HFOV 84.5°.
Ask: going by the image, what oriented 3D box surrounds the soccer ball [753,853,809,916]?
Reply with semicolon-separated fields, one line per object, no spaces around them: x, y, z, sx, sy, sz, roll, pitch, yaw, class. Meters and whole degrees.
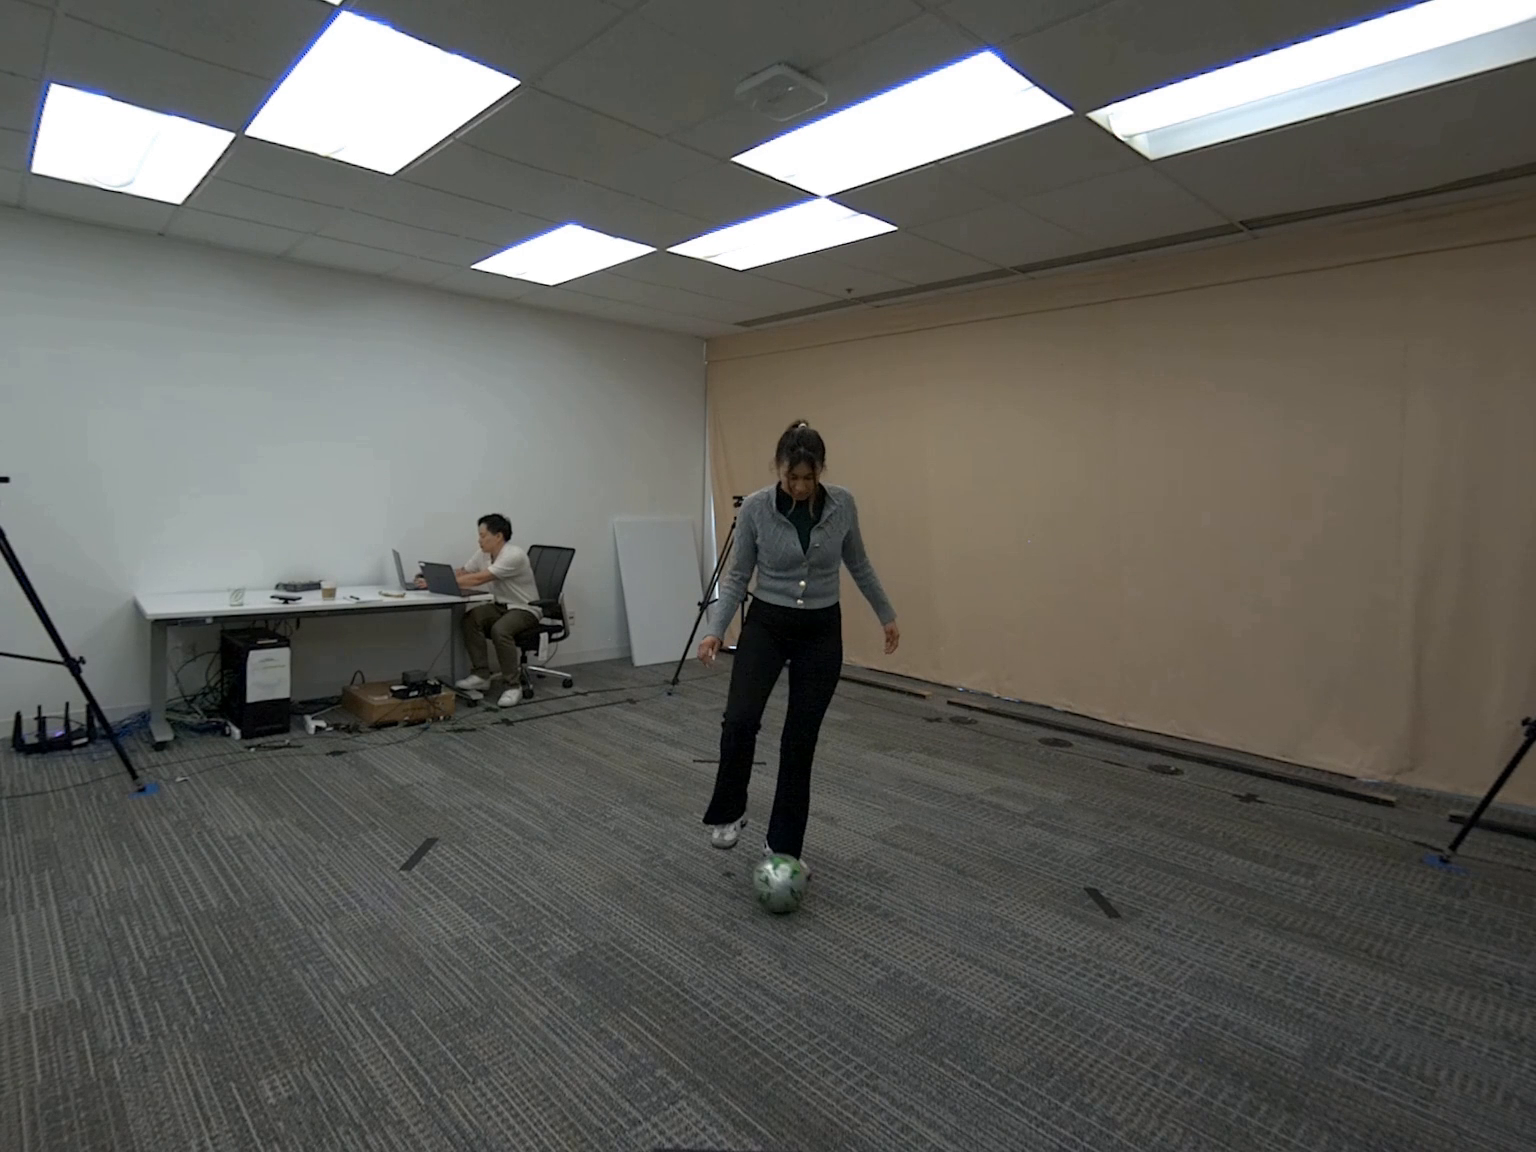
0.038;1.035;2.831;0.187;0.187;0.188;1;4;-1;soccer ball
